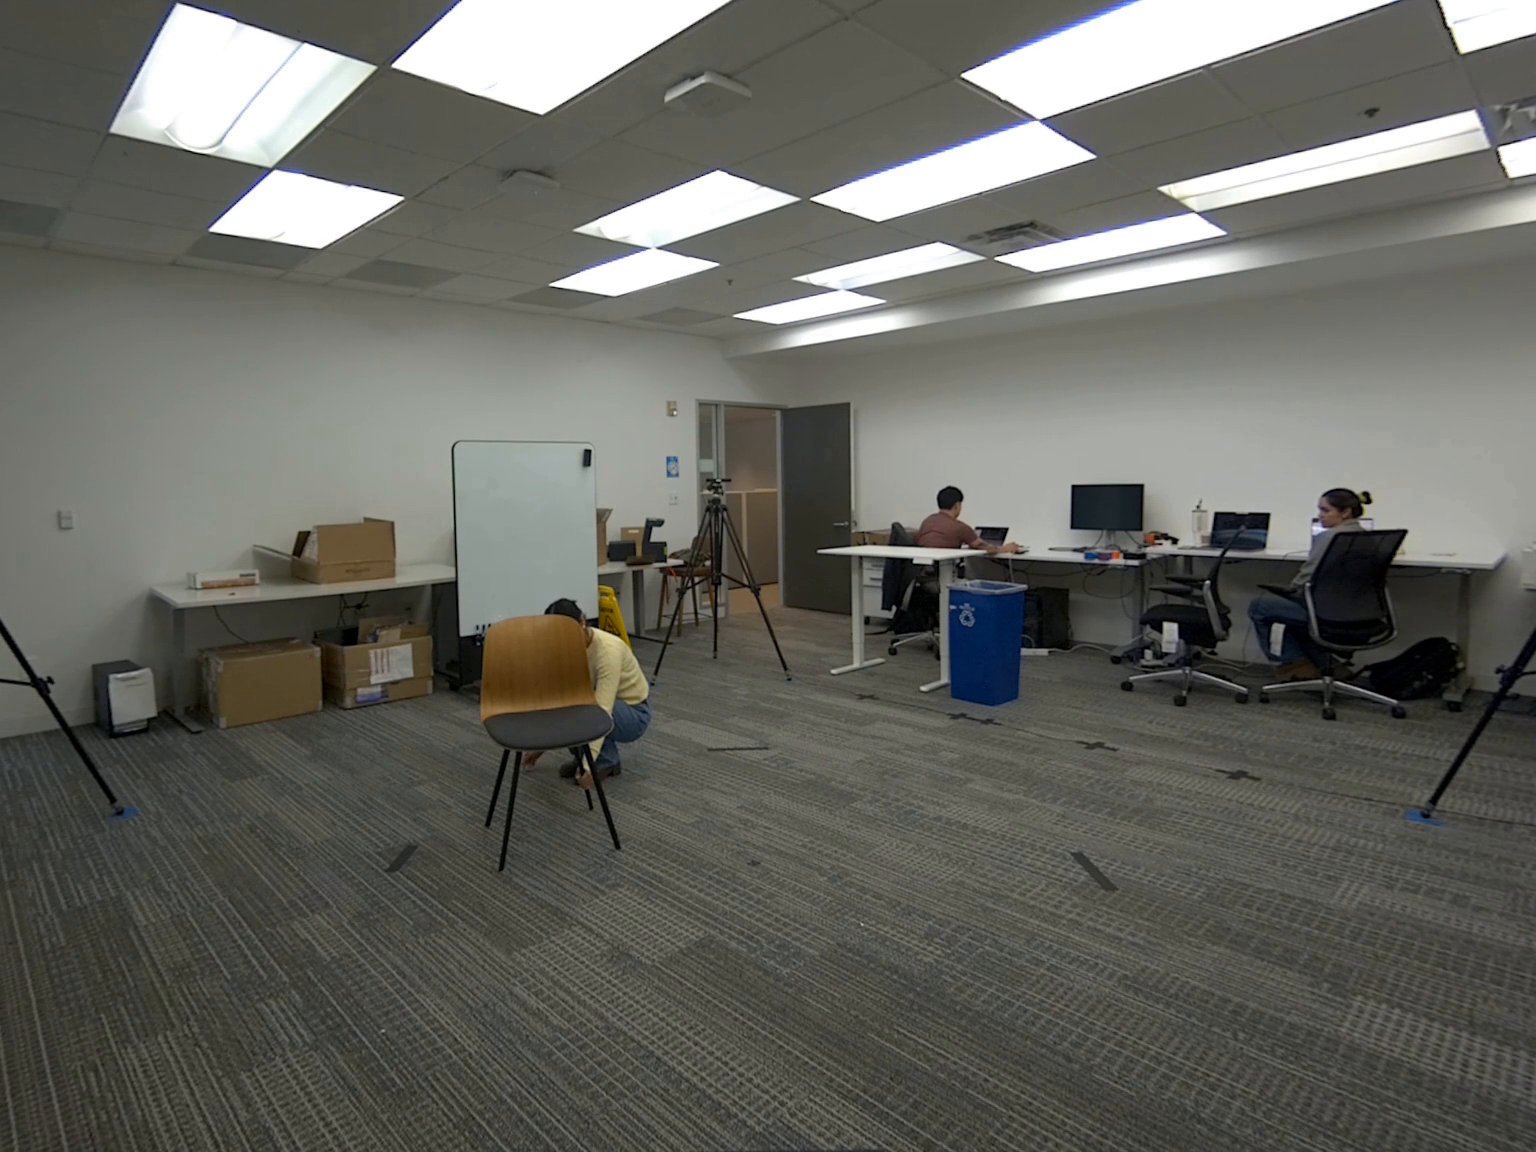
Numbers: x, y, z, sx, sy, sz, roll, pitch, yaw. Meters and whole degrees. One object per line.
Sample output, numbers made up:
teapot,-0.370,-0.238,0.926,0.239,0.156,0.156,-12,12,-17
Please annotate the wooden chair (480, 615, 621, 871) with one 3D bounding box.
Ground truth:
wooden chair,-0.856,0.608,3.326,0.469,0.878,0.533,-2,0,-23
